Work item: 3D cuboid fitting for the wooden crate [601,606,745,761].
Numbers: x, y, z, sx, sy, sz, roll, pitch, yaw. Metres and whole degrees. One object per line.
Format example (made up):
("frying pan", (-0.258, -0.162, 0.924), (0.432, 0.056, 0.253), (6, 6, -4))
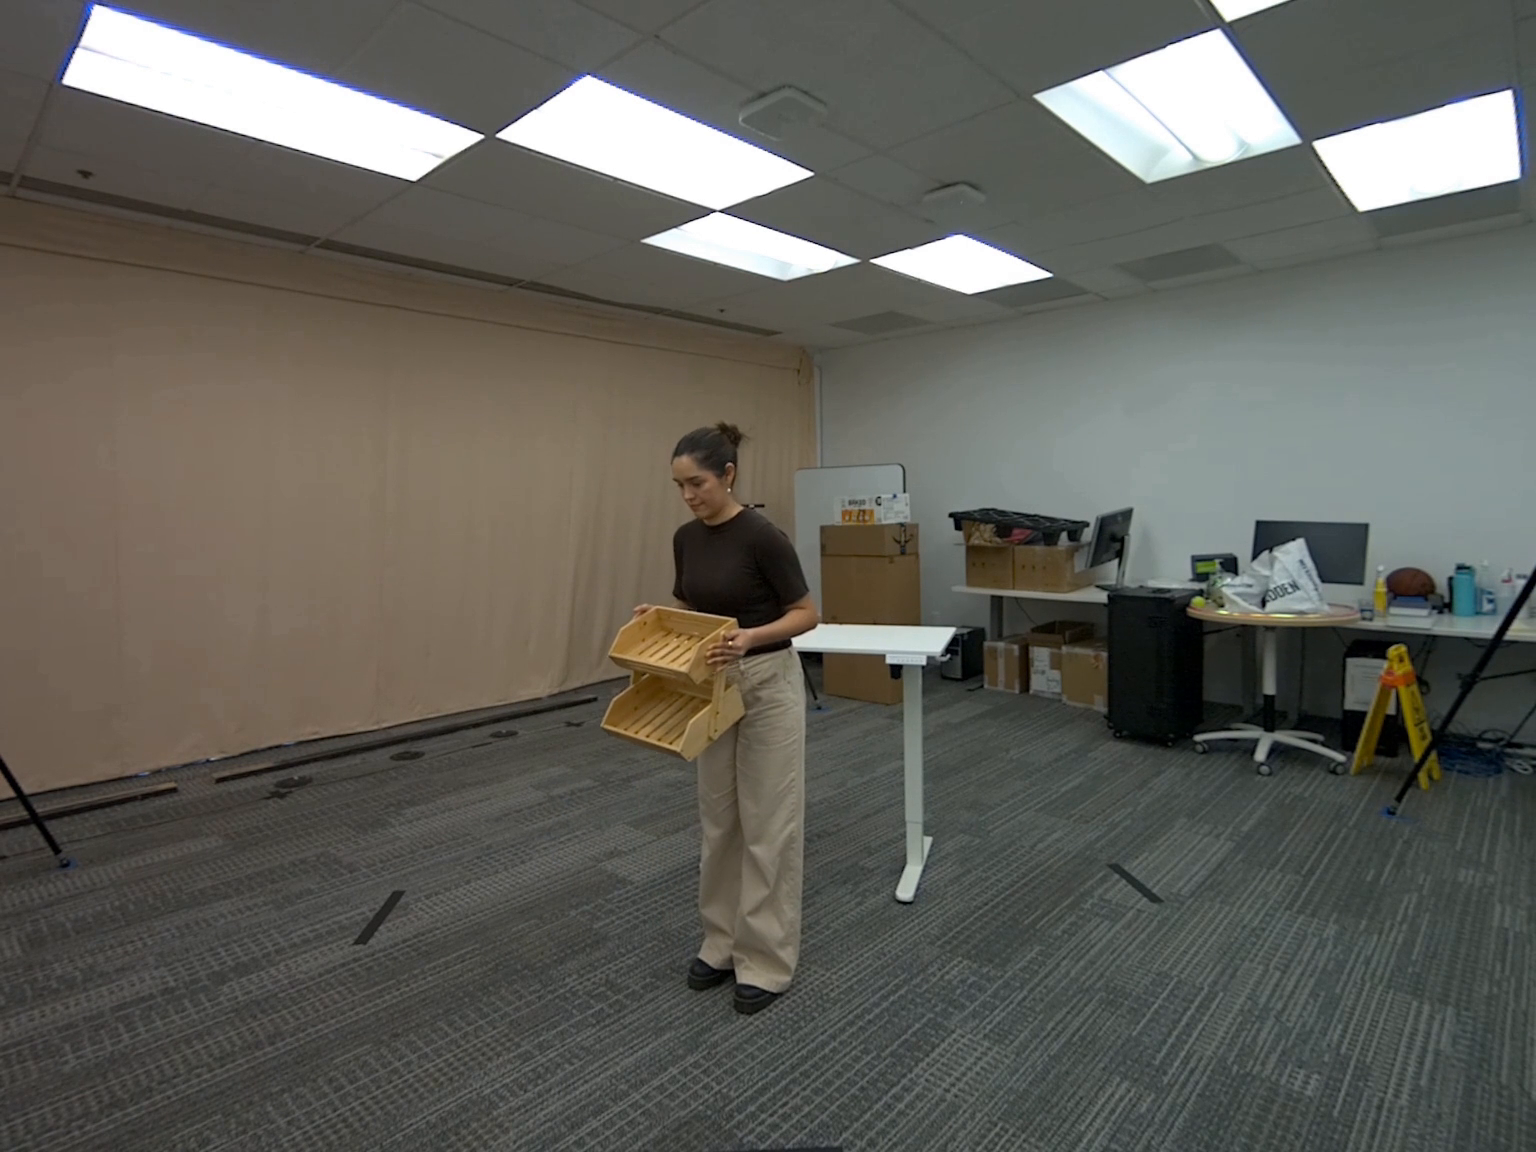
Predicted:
("wooden crate", (-0.260, 0.278, 2.231), (0.335, 0.269, 0.297), (6, 28, 40))
